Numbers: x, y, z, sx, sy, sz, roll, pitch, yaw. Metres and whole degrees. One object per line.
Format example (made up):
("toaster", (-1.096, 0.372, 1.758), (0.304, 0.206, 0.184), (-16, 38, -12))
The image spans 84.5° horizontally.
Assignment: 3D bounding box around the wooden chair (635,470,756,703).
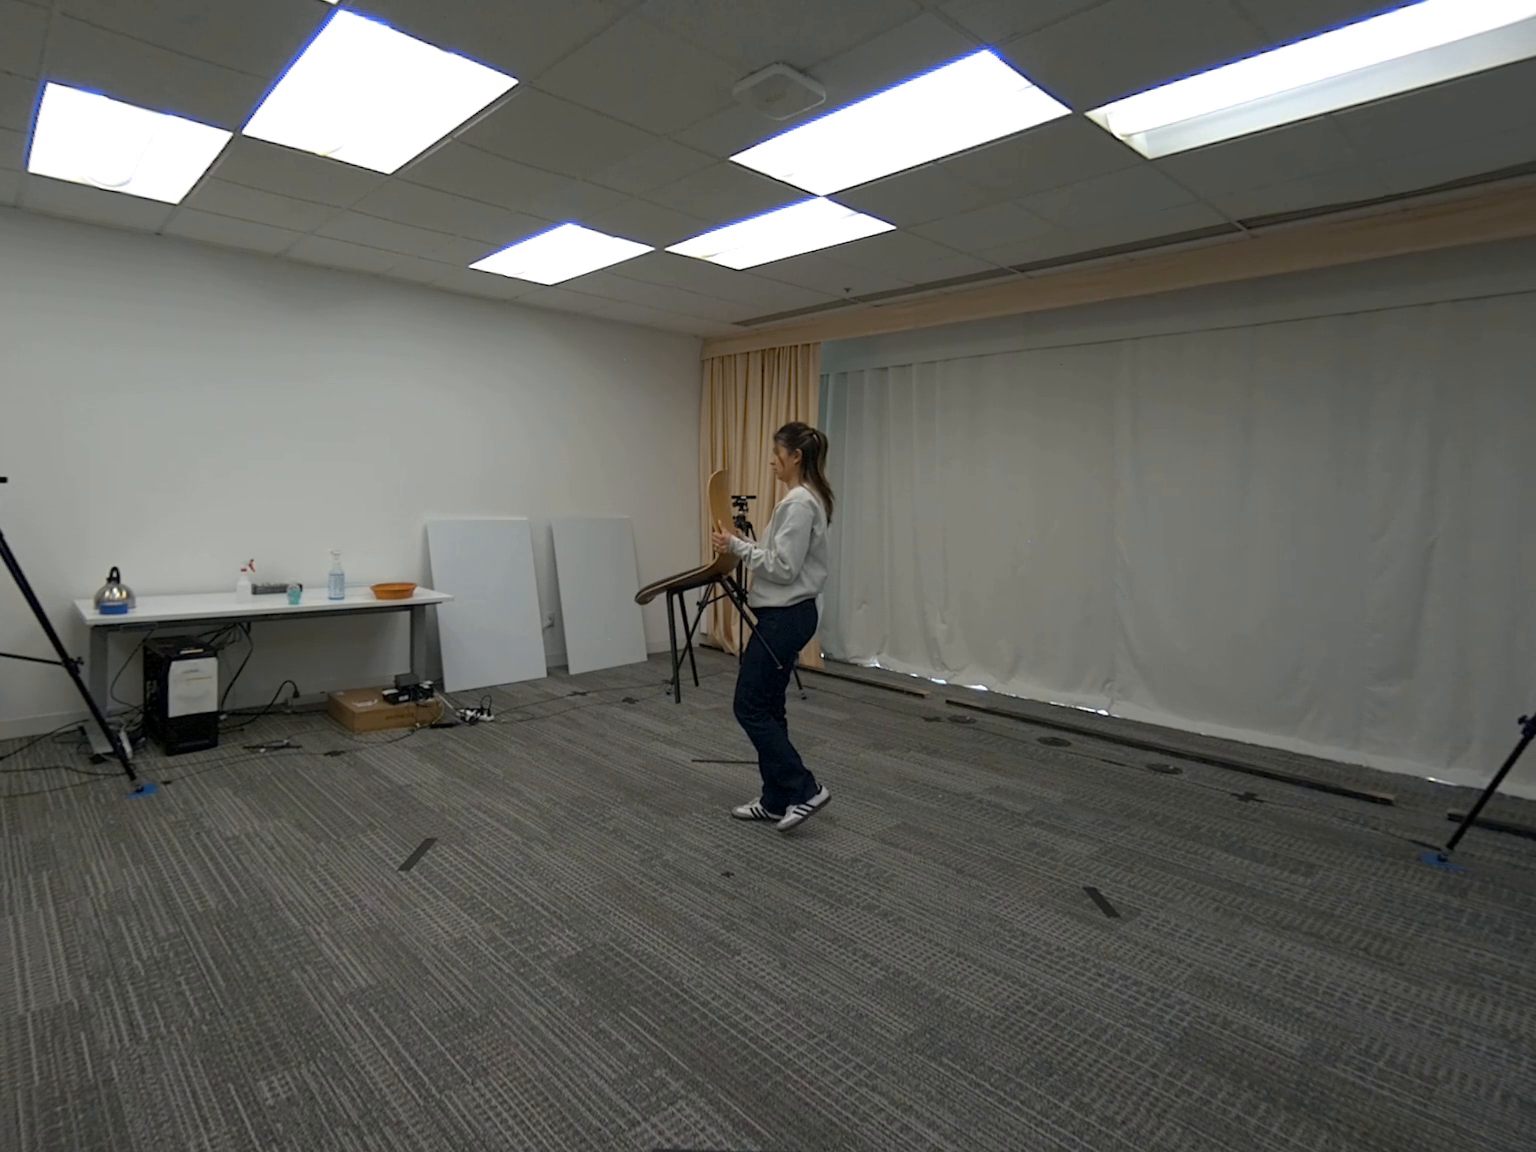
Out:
("wooden chair", (-0.305, 0.044, 3.604), (0.525, 0.878, 0.476), (-16, -1, 7))
